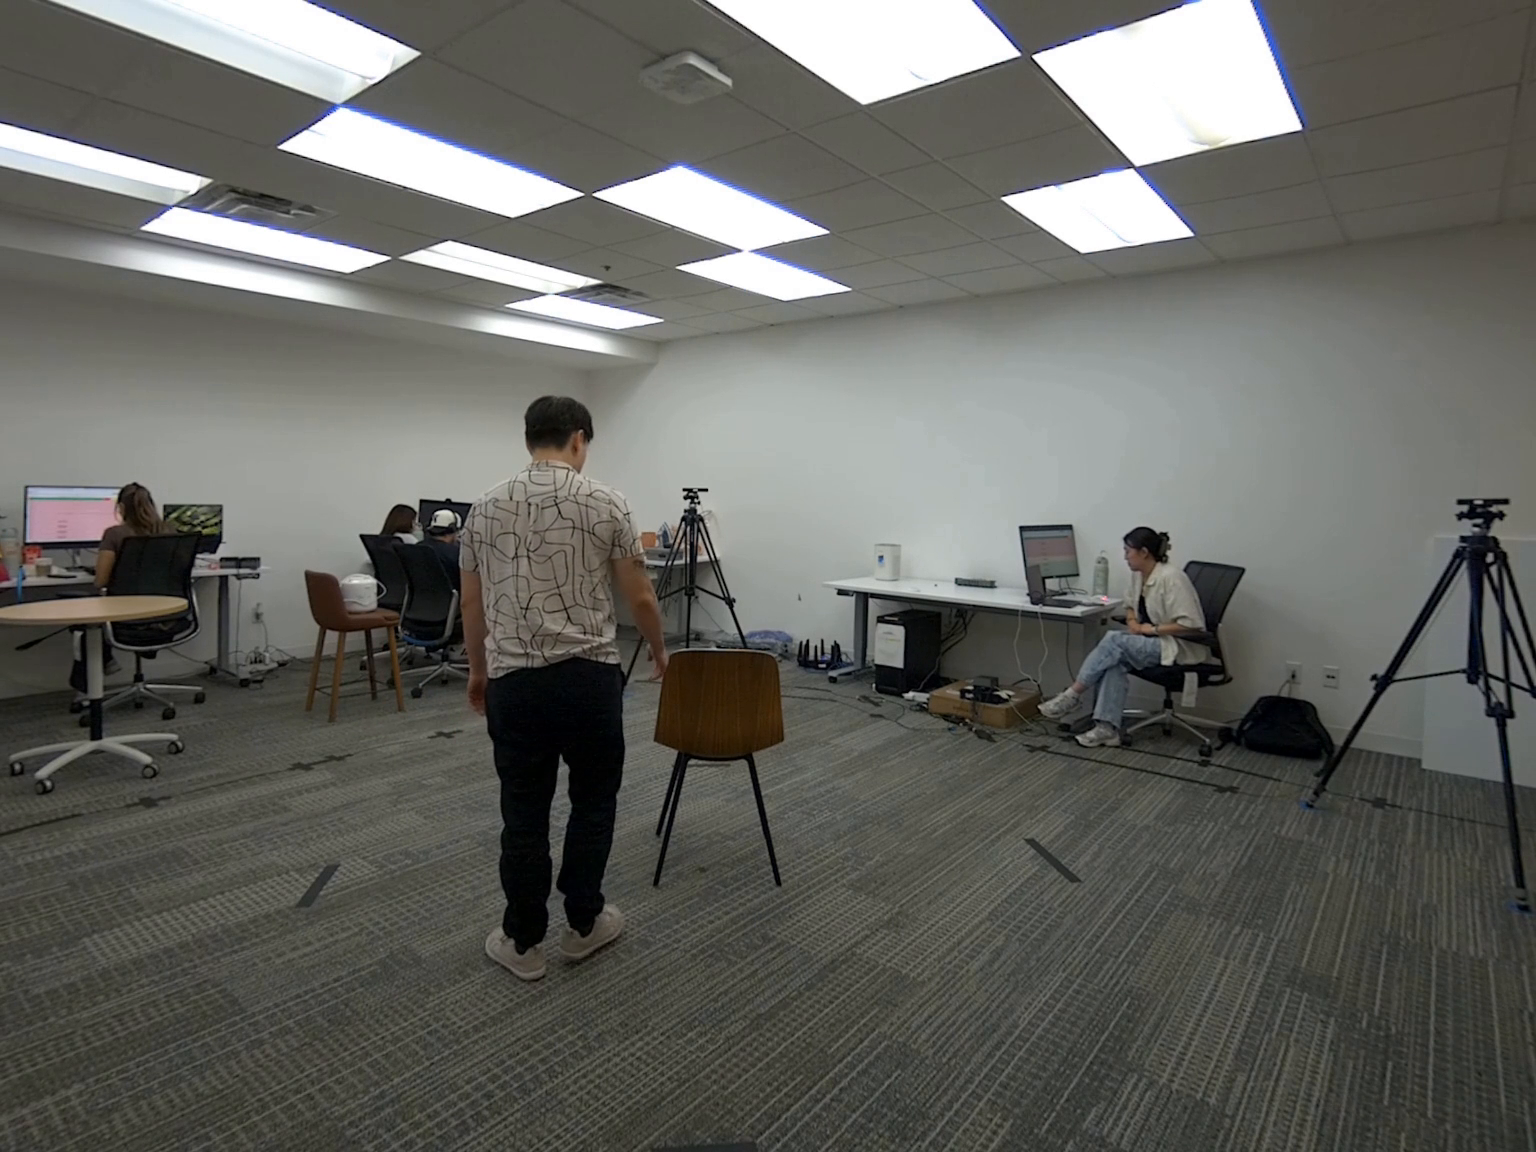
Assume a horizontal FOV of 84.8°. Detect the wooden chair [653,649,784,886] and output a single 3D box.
[{"bbox_3d":[-0.205,0.636,3.181,0.476,0.871,0.530,0,7,-6],"label":"wooden chair"}]
